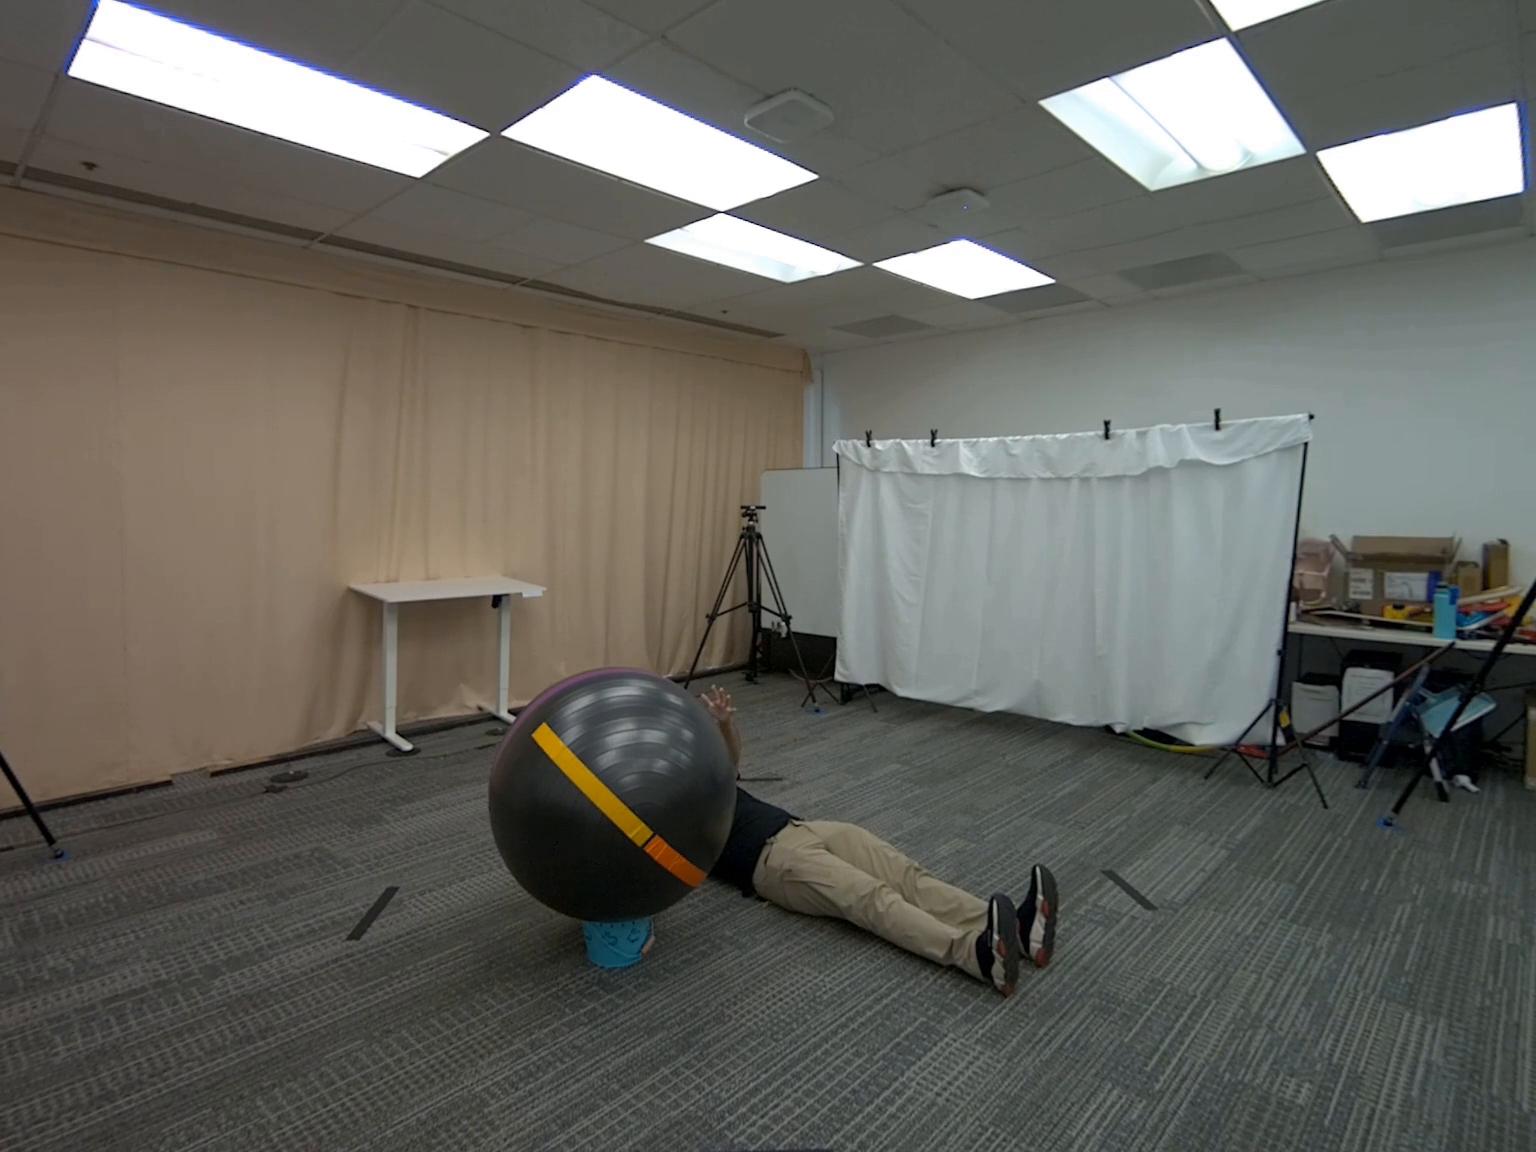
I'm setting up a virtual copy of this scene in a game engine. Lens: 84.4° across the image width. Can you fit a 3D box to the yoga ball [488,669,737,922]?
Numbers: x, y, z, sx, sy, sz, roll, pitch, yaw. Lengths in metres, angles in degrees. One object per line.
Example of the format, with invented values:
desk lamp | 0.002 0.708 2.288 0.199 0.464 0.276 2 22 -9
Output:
yoga ball | -0.480 0.672 2.608 0.757 0.756 0.761 0 4 -2
